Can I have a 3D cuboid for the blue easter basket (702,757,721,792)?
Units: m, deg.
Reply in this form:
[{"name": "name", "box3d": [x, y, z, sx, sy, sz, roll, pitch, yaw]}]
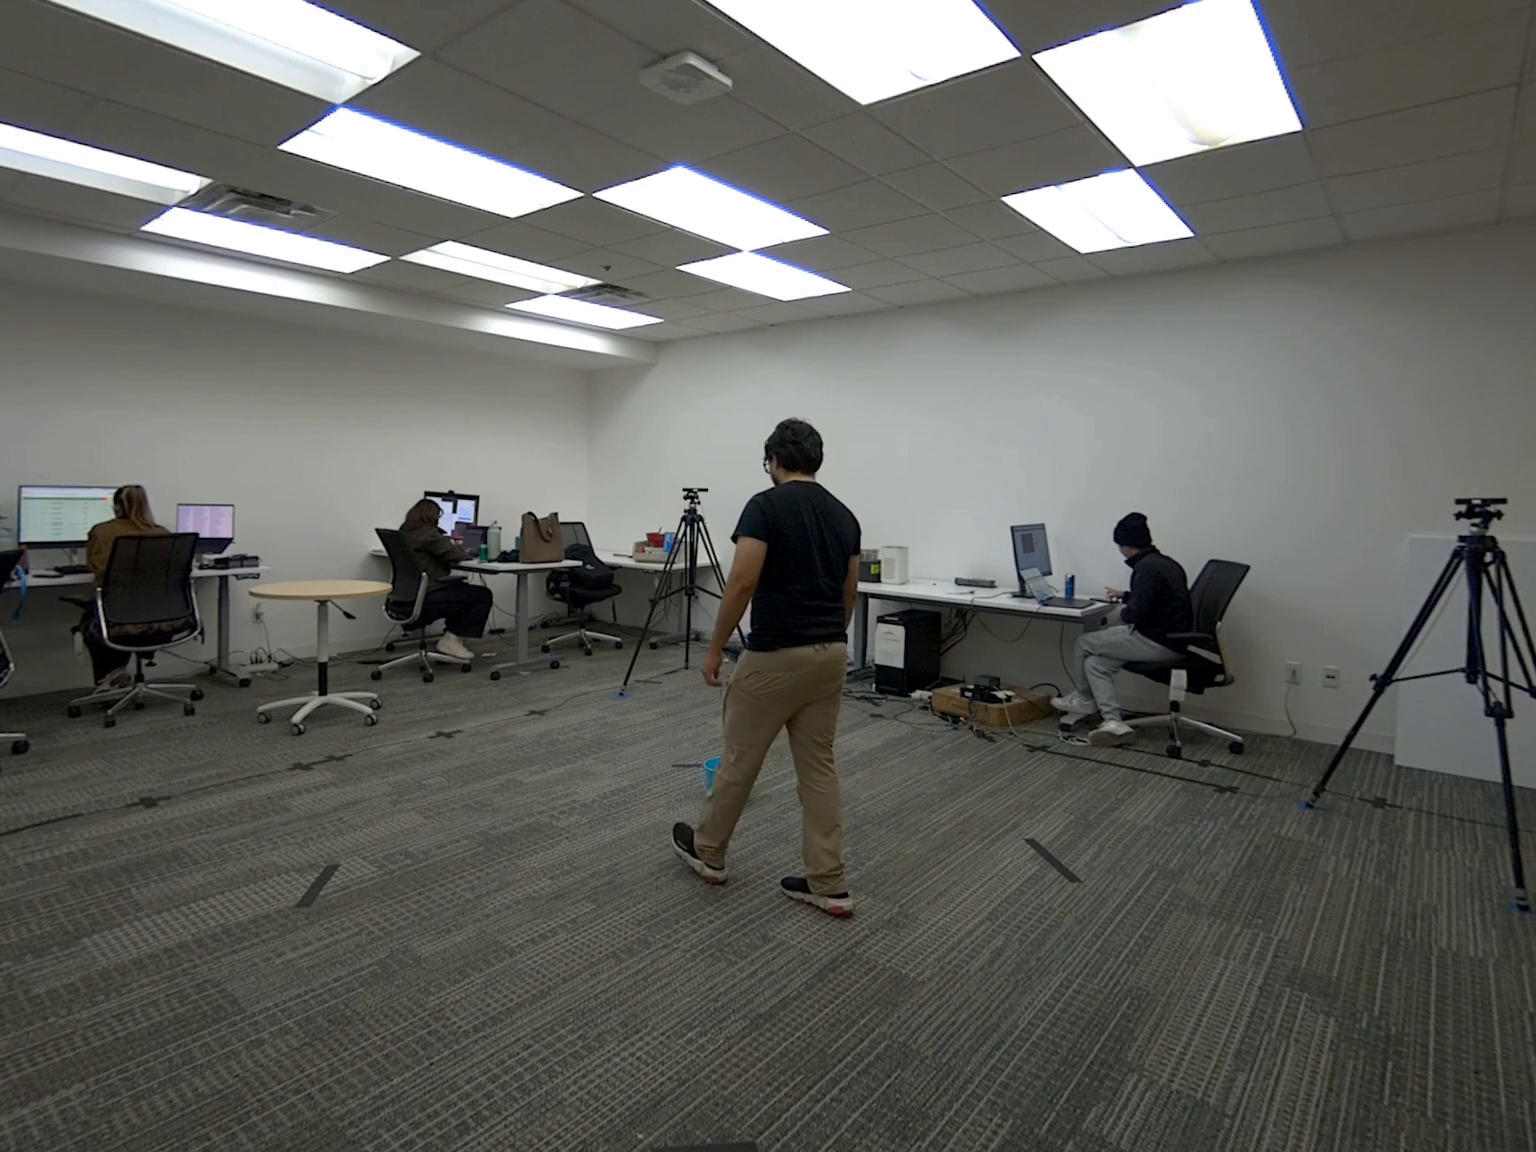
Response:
[{"name": "blue easter basket", "box3d": [-0.189, 0.917, 3.835, 0.243, 0.155, 0.245, 1, 4, -2]}]
